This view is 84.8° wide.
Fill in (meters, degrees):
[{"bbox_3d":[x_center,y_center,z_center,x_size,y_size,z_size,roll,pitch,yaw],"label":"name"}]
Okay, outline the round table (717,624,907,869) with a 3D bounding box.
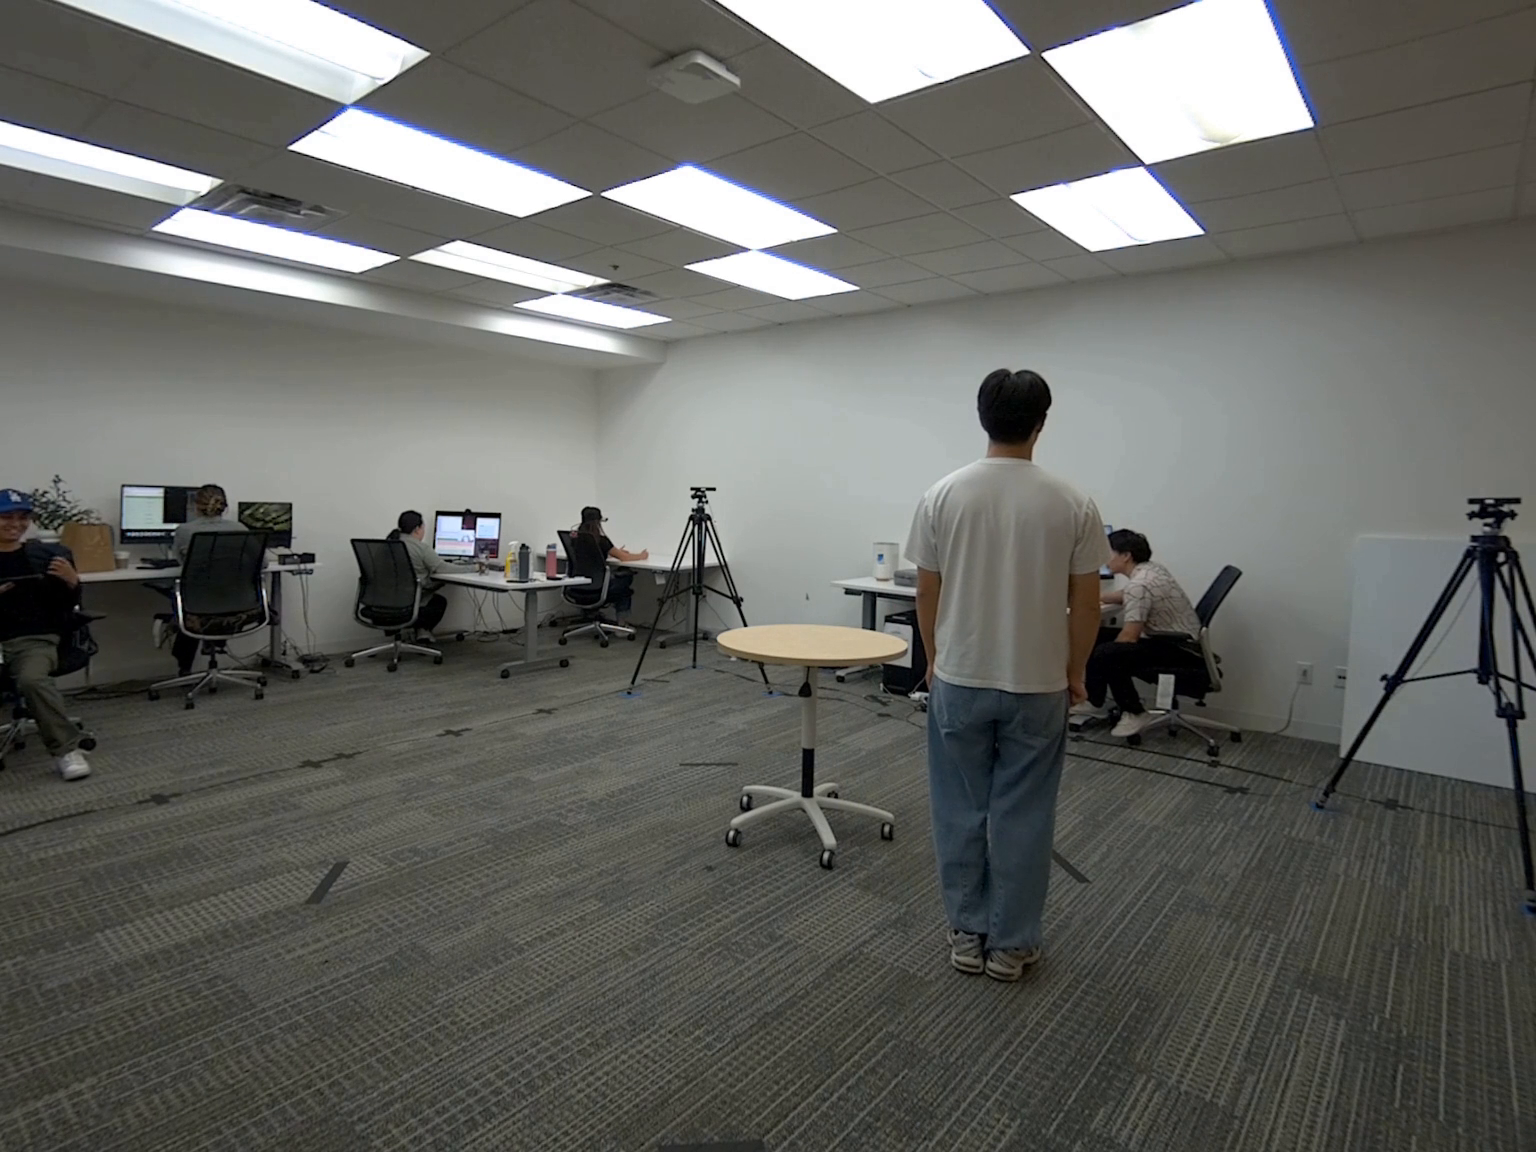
[{"bbox_3d":[0.149,0.650,3.466,0.763,0.791,0.768,1,4,-2],"label":"round table"}]
